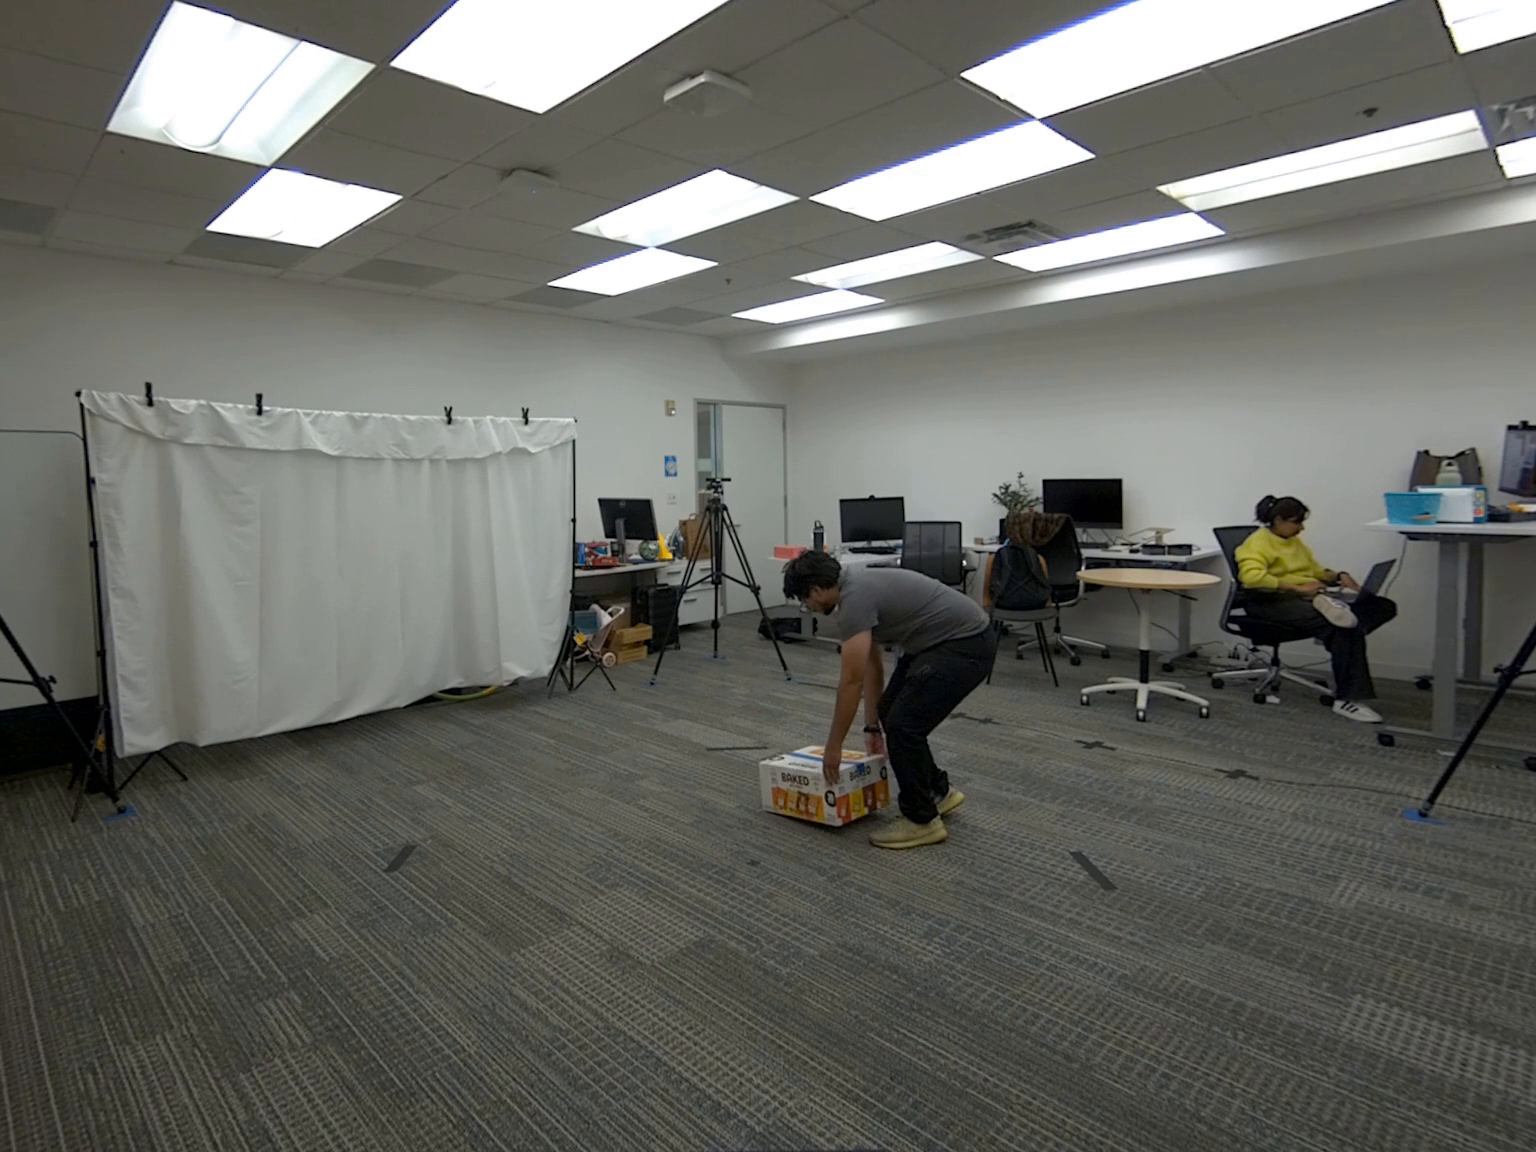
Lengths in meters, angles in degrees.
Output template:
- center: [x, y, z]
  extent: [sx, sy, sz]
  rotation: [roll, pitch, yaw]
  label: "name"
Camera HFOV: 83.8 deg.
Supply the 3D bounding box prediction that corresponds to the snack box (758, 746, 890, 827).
- center: [0.234, 0.865, 3.556]
  extent: [0.331, 0.206, 0.416]
  rotation: [-5, 1, -45]
  label: "snack box"
